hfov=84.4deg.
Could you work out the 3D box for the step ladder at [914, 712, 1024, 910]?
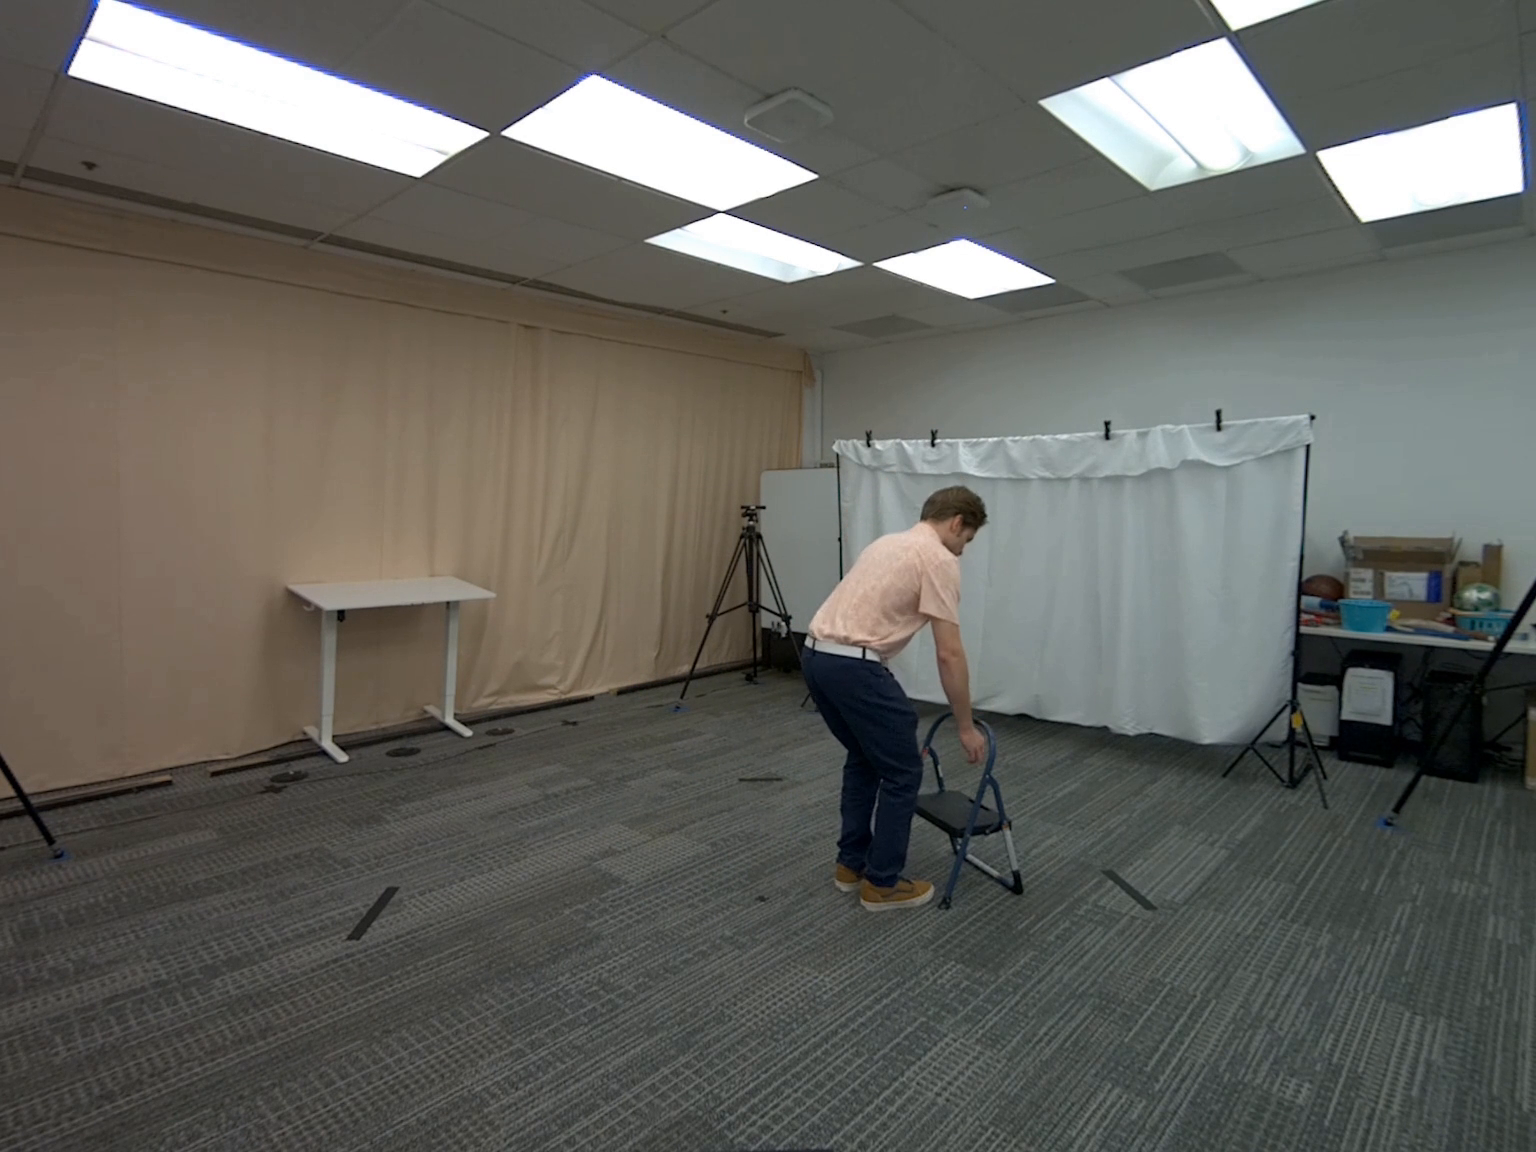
[{"bbox_3d":[0.687,0.829,3.134,0.342,0.605,0.440,-1,3,-21],"label":"step ladder"}]
